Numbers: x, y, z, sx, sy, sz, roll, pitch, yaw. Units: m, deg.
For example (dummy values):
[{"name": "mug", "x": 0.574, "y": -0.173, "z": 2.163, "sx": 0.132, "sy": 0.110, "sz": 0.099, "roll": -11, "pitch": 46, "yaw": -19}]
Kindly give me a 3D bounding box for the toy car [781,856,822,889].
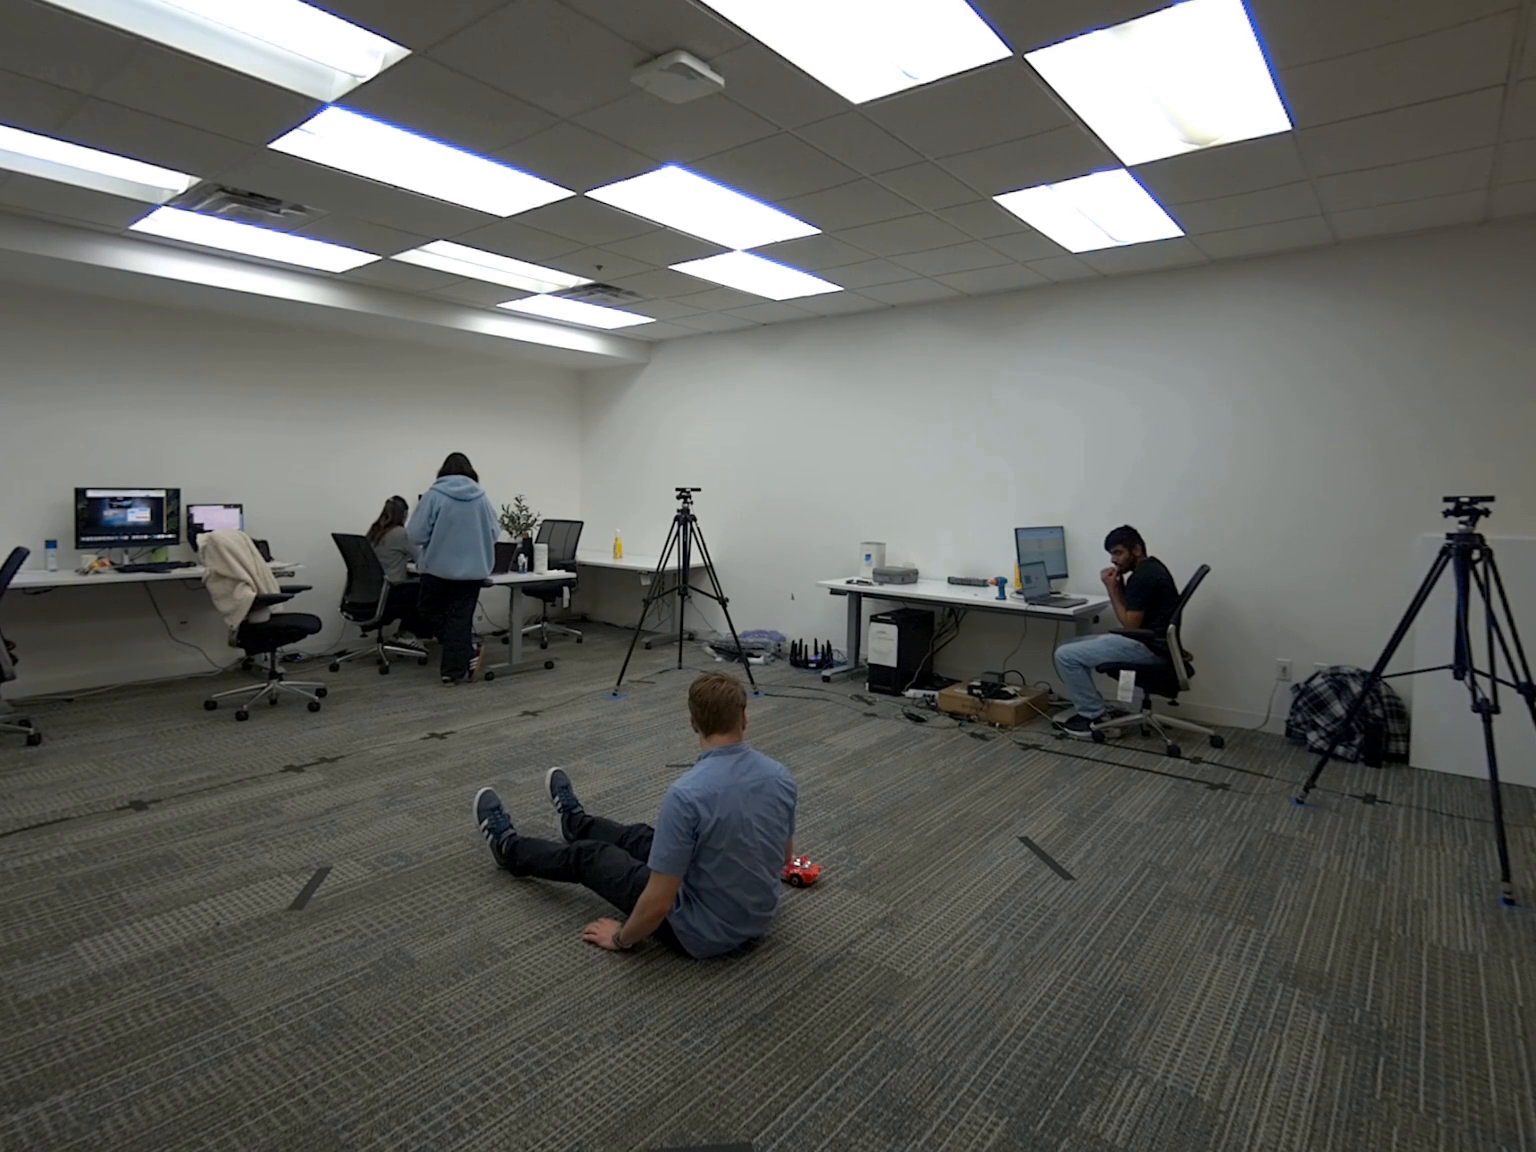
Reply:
[{"name": "toy car", "x": 0.073, "y": 1.051, "z": 3.047, "sx": 0.260, "sy": 0.083, "sz": 0.127, "roll": -10, "pitch": -1, "yaw": 25}]
